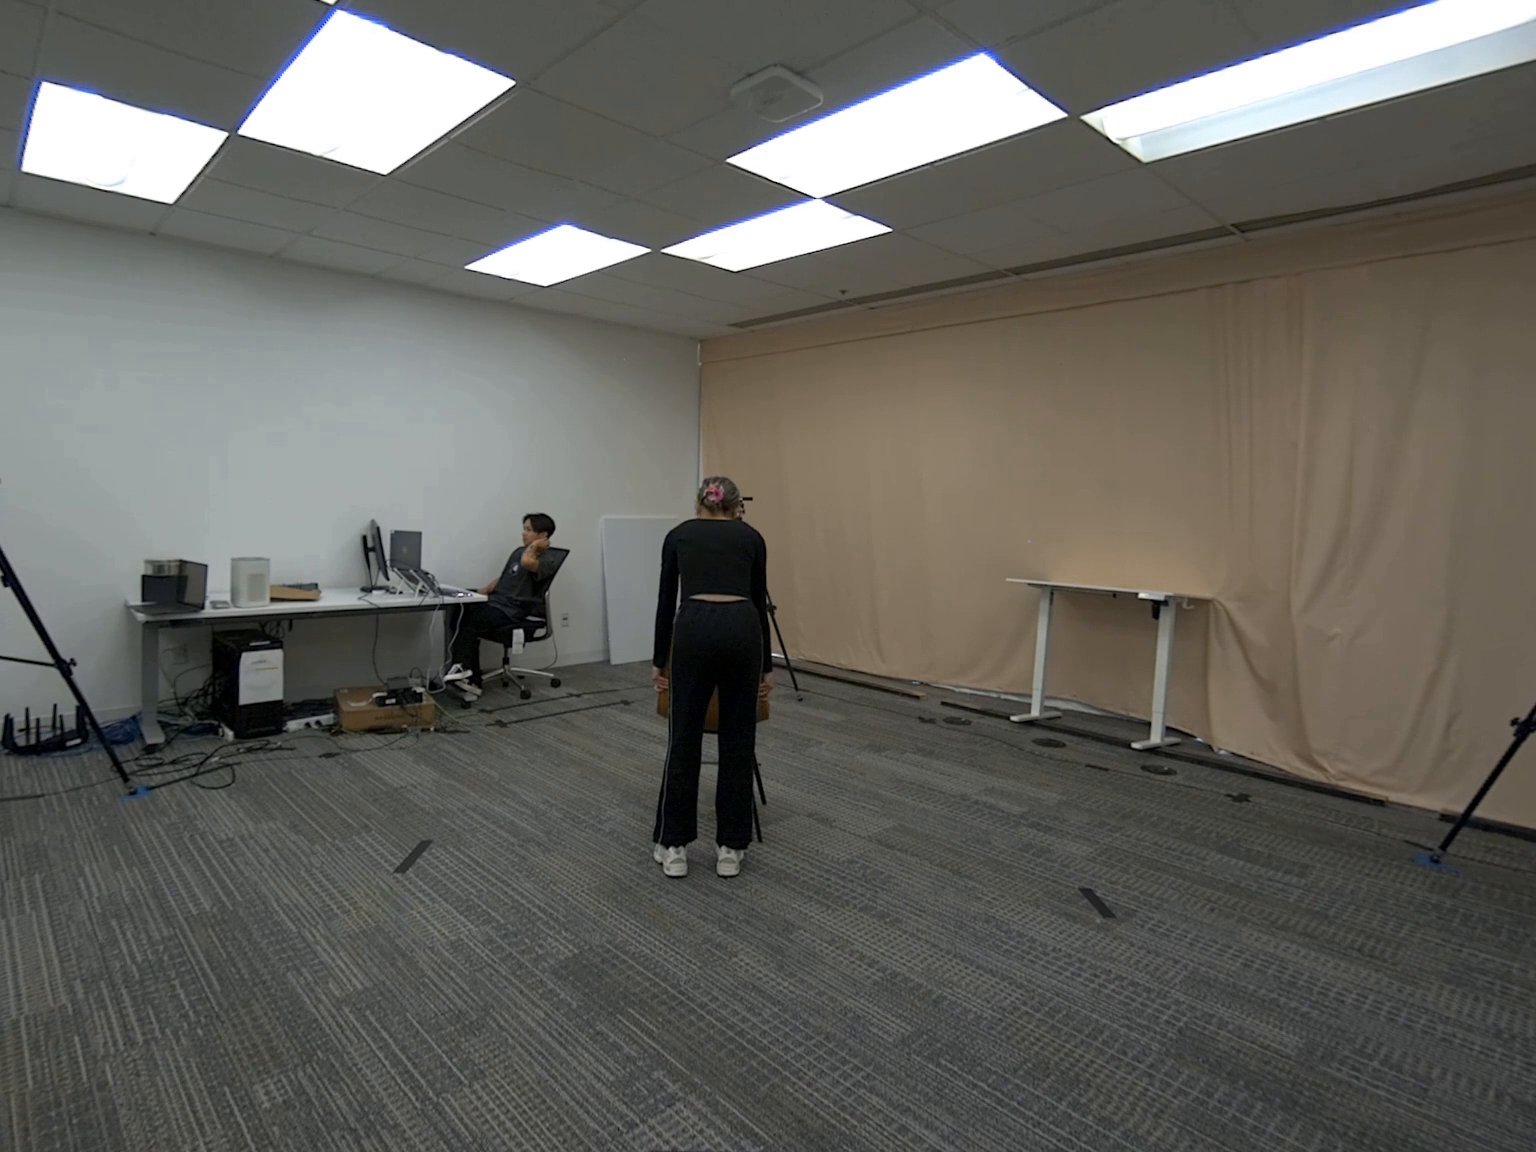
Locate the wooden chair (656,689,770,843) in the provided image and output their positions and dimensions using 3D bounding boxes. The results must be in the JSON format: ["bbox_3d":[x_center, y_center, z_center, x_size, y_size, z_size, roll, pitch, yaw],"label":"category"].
[{"bbox_3d":[-0.234,0.632,3.638,0.479,0.872,0.524,1,8,3],"label":"wooden chair"}]
